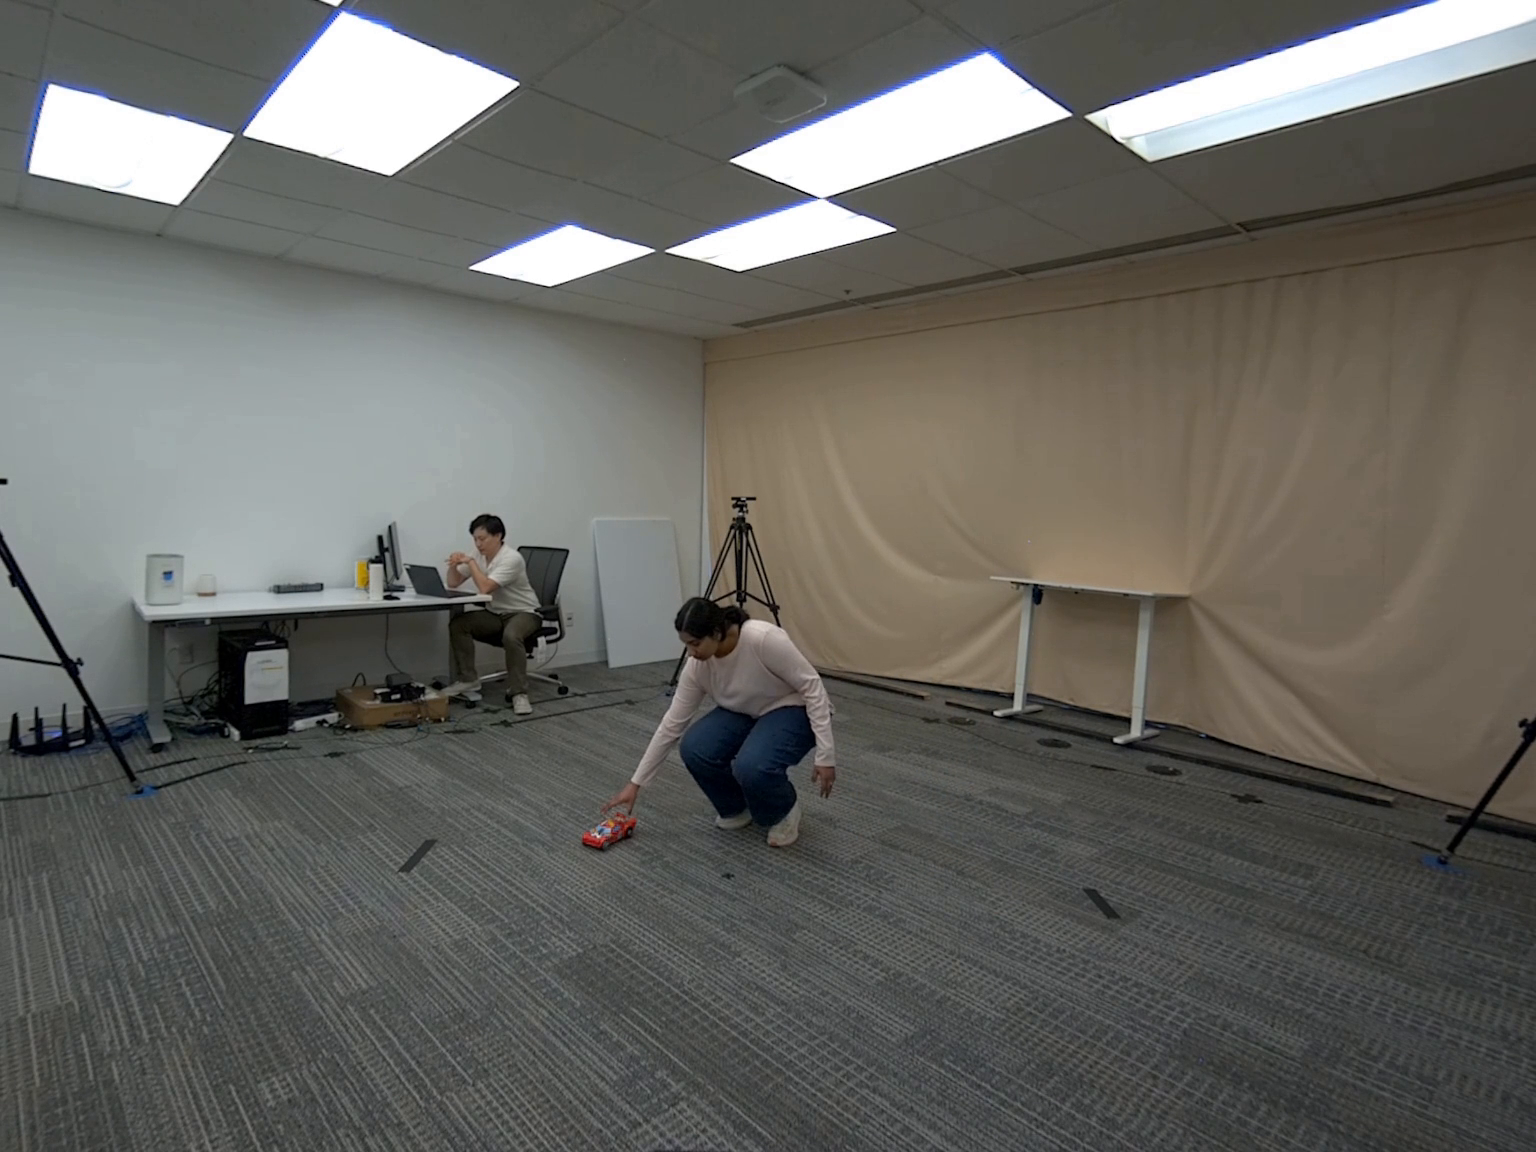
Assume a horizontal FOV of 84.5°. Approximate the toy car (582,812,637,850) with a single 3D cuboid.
[{"bbox_3d":[-0.641,1.030,3.410,0.133,0.082,0.251,2,16,30],"label":"toy car"}]
